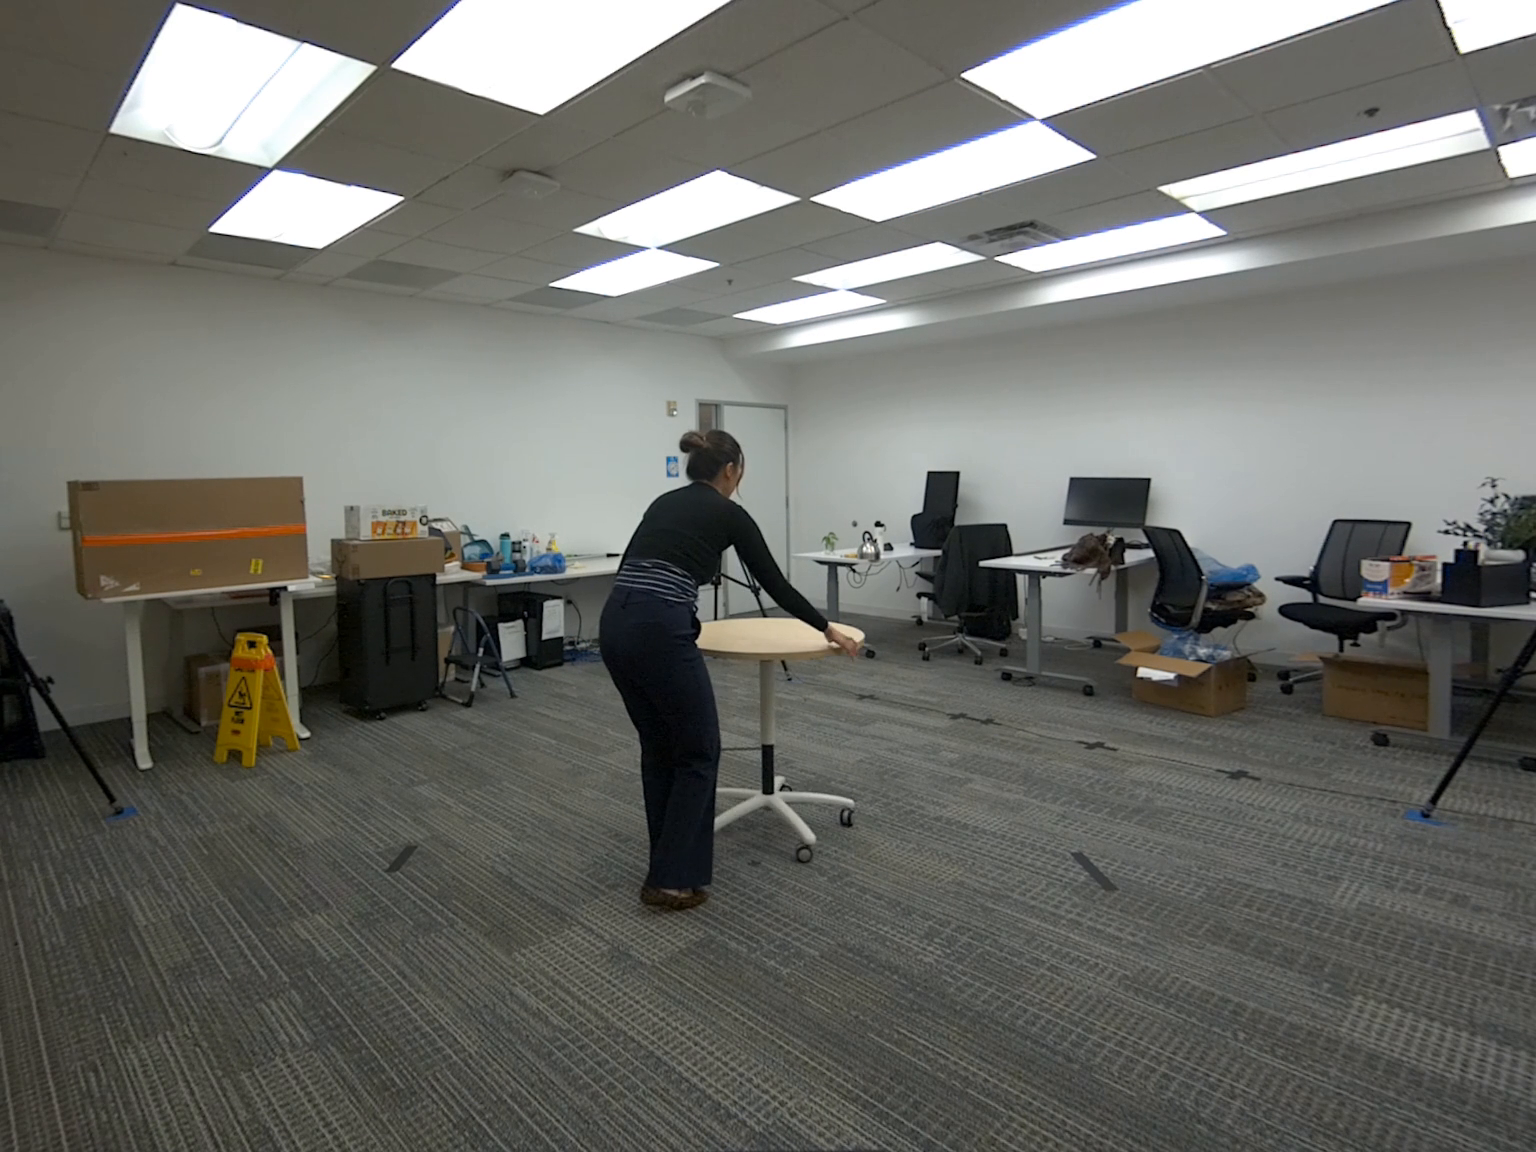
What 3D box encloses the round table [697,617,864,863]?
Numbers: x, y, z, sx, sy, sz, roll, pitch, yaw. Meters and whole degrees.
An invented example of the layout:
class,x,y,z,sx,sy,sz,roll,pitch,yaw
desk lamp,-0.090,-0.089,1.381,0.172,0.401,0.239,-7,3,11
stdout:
class,x,y,z,sx,sy,sz,roll,pitch,yaw
round table,0.004,0.619,3.405,0.763,0.791,0.768,-1,5,-2
